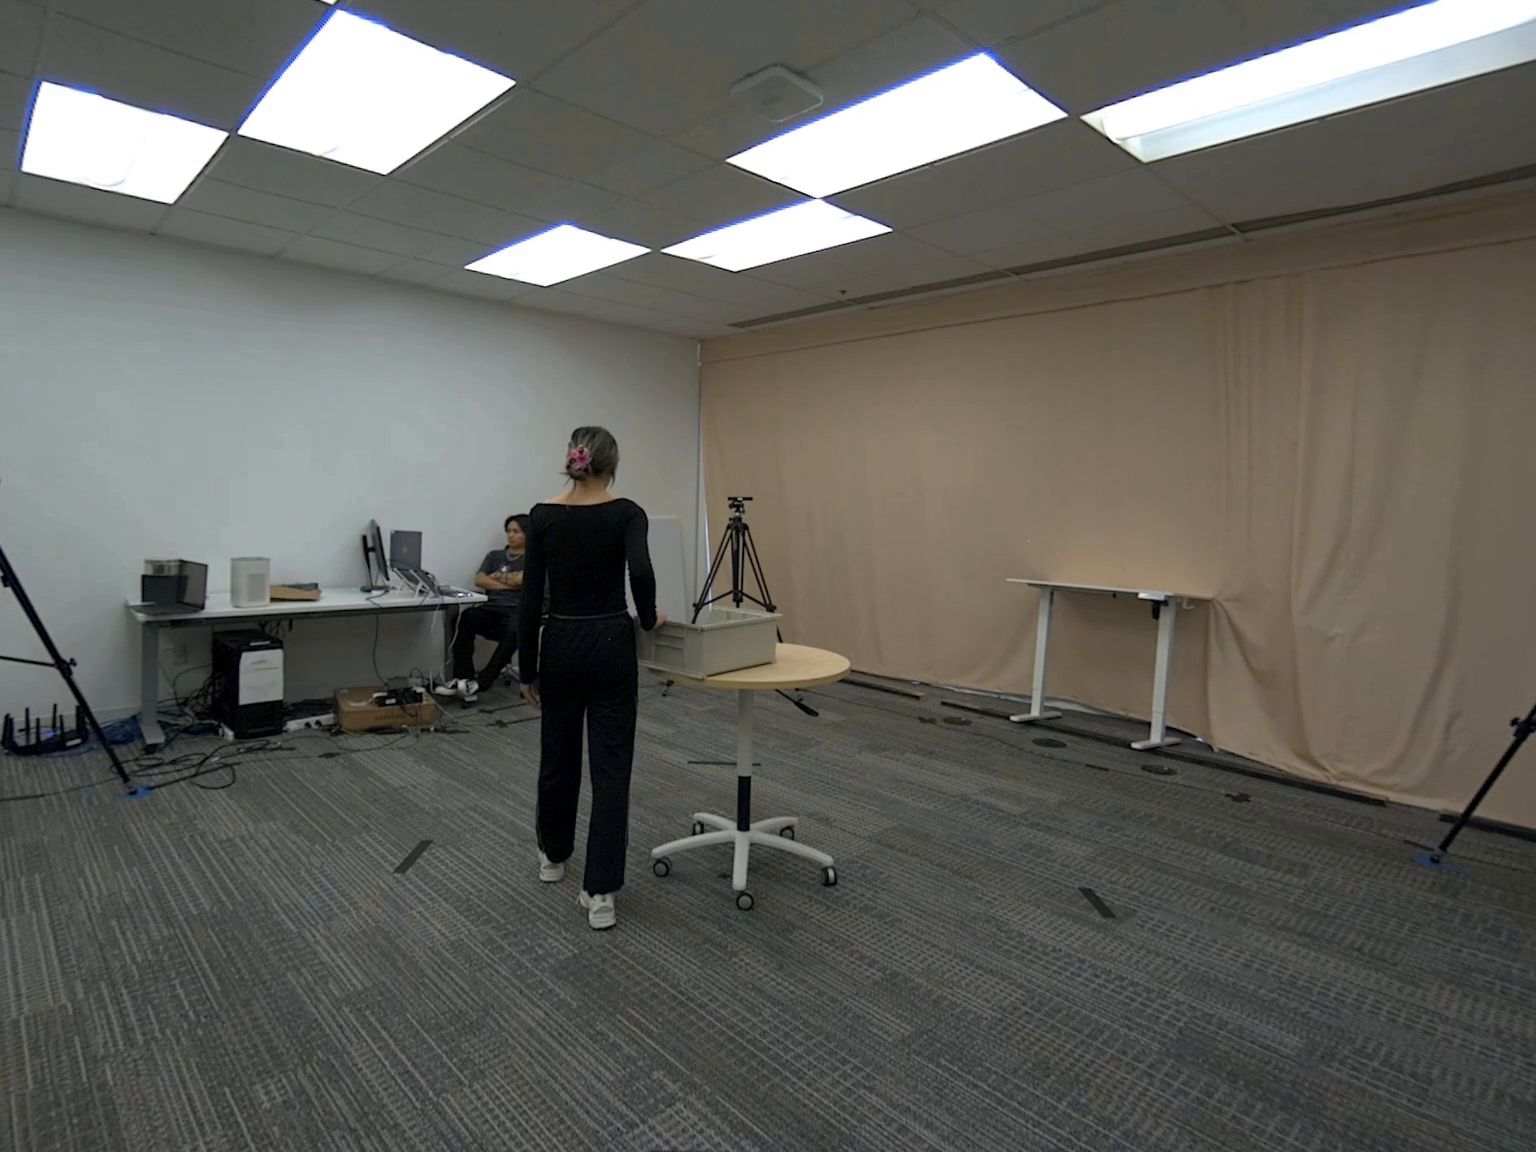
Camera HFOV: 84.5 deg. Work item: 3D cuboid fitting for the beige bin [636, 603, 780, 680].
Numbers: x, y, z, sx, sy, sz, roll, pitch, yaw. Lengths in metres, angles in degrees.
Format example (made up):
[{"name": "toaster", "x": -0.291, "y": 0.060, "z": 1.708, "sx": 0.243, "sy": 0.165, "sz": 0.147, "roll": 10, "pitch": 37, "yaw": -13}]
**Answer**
[{"name": "beige bin", "x": -0.233, "y": 0.229, "z": 3.047, "sx": 0.387, "sy": 0.188, "sz": 0.413, "roll": 8, "pitch": 7, "yaw": 39}]
